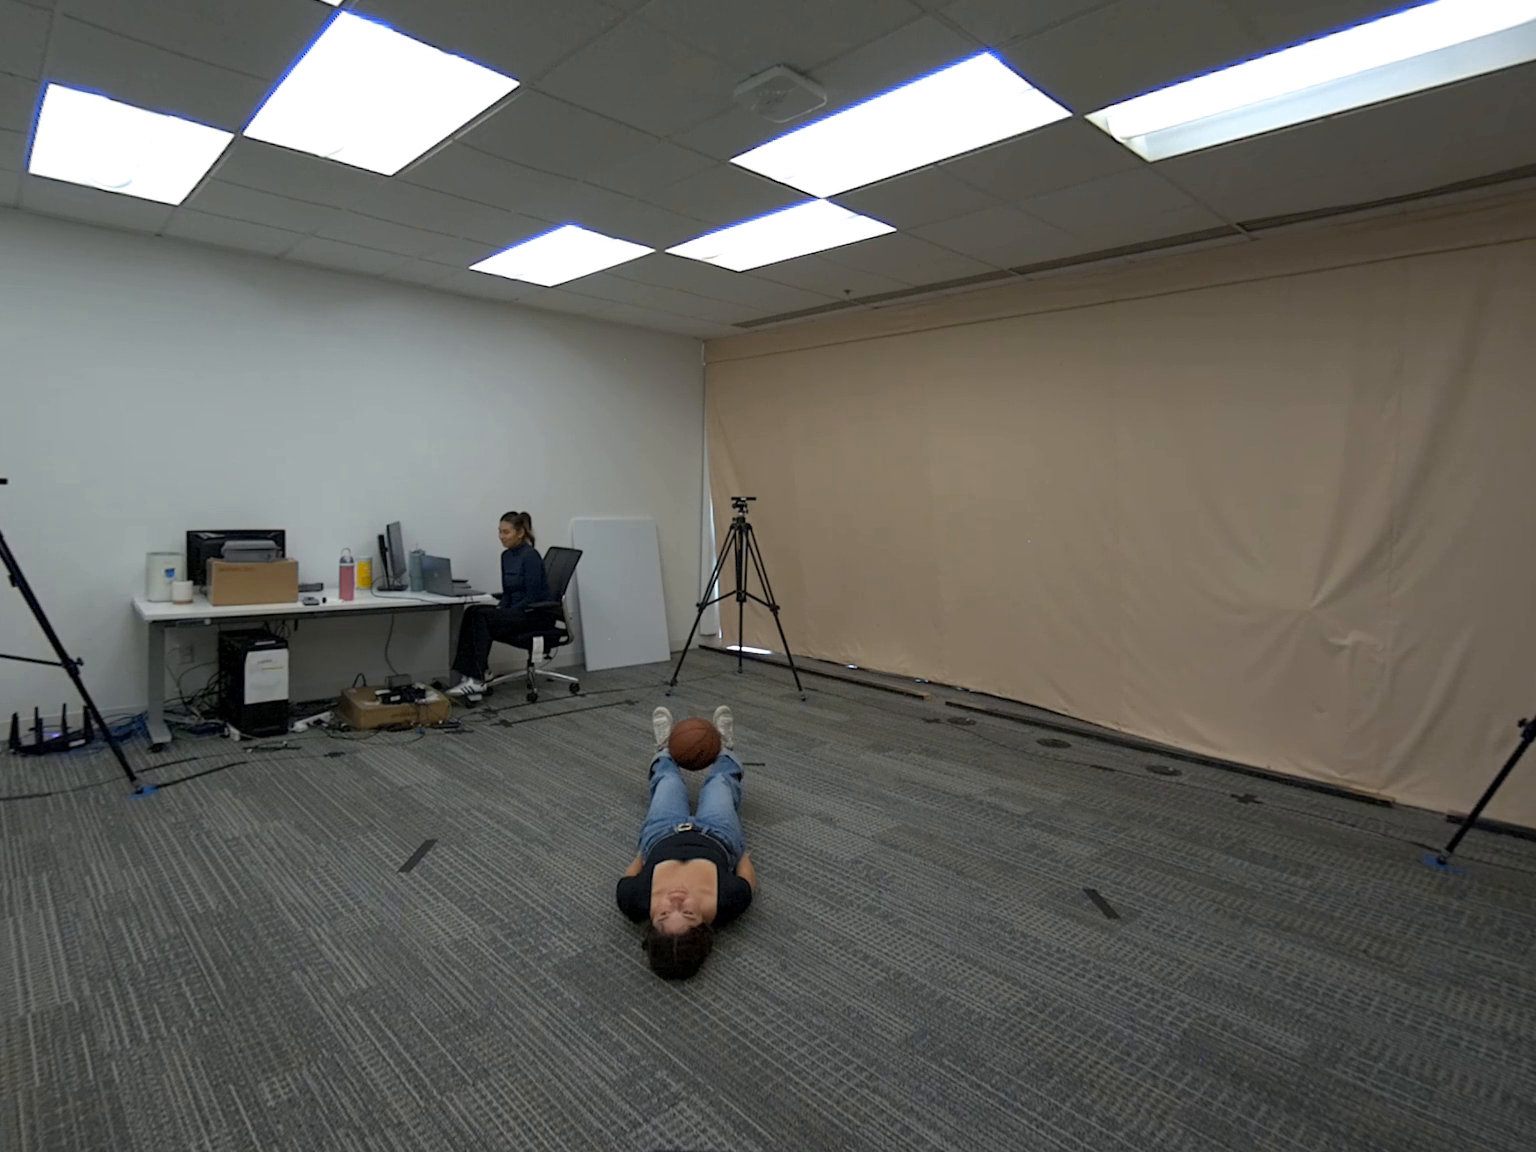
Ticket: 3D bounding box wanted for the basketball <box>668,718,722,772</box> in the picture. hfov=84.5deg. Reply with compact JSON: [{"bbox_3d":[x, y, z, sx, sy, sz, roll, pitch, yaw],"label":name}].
[{"bbox_3d":[-0.345,0.762,3.846,0.236,0.235,0.237,1,4,-1],"label":"basketball"}]
